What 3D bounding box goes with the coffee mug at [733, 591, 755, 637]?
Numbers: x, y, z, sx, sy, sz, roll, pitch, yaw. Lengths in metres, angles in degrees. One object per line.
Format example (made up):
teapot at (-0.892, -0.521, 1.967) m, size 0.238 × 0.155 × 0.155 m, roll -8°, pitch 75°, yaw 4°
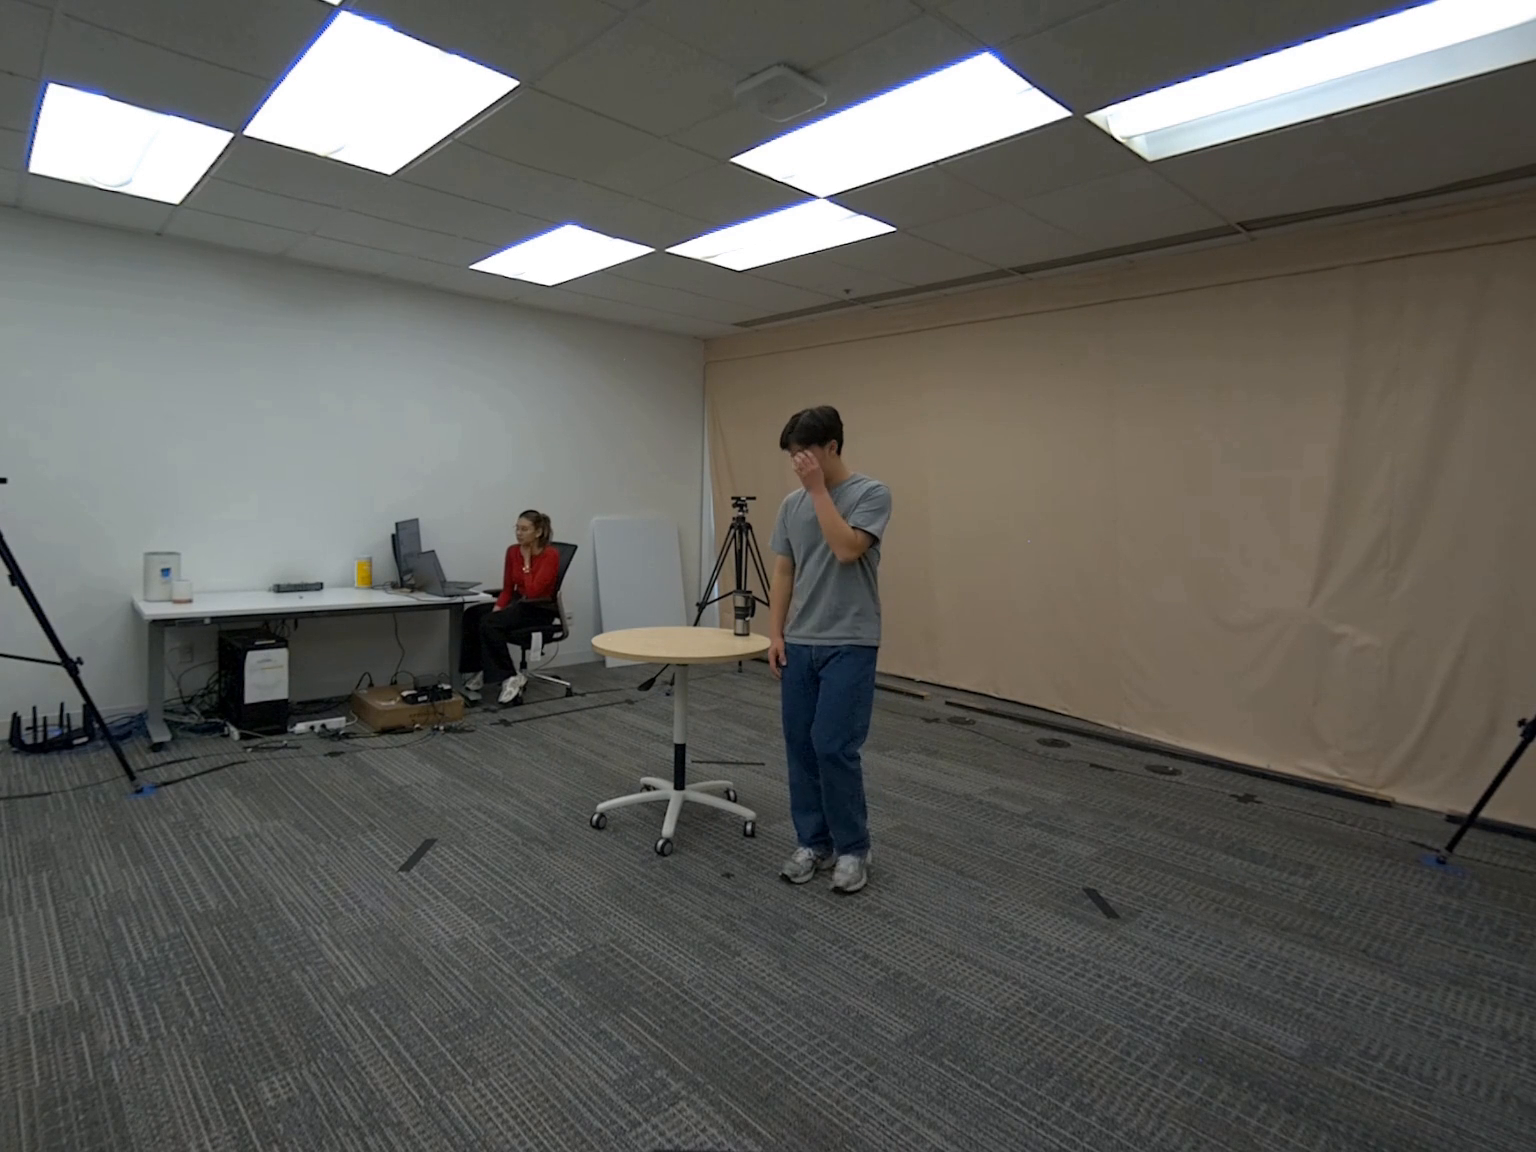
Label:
coffee mug at (-0.117, 0.166, 3.729) m, size 0.087 × 0.203 × 0.123 m, roll 3°, pitch -3°, yaw -17°
